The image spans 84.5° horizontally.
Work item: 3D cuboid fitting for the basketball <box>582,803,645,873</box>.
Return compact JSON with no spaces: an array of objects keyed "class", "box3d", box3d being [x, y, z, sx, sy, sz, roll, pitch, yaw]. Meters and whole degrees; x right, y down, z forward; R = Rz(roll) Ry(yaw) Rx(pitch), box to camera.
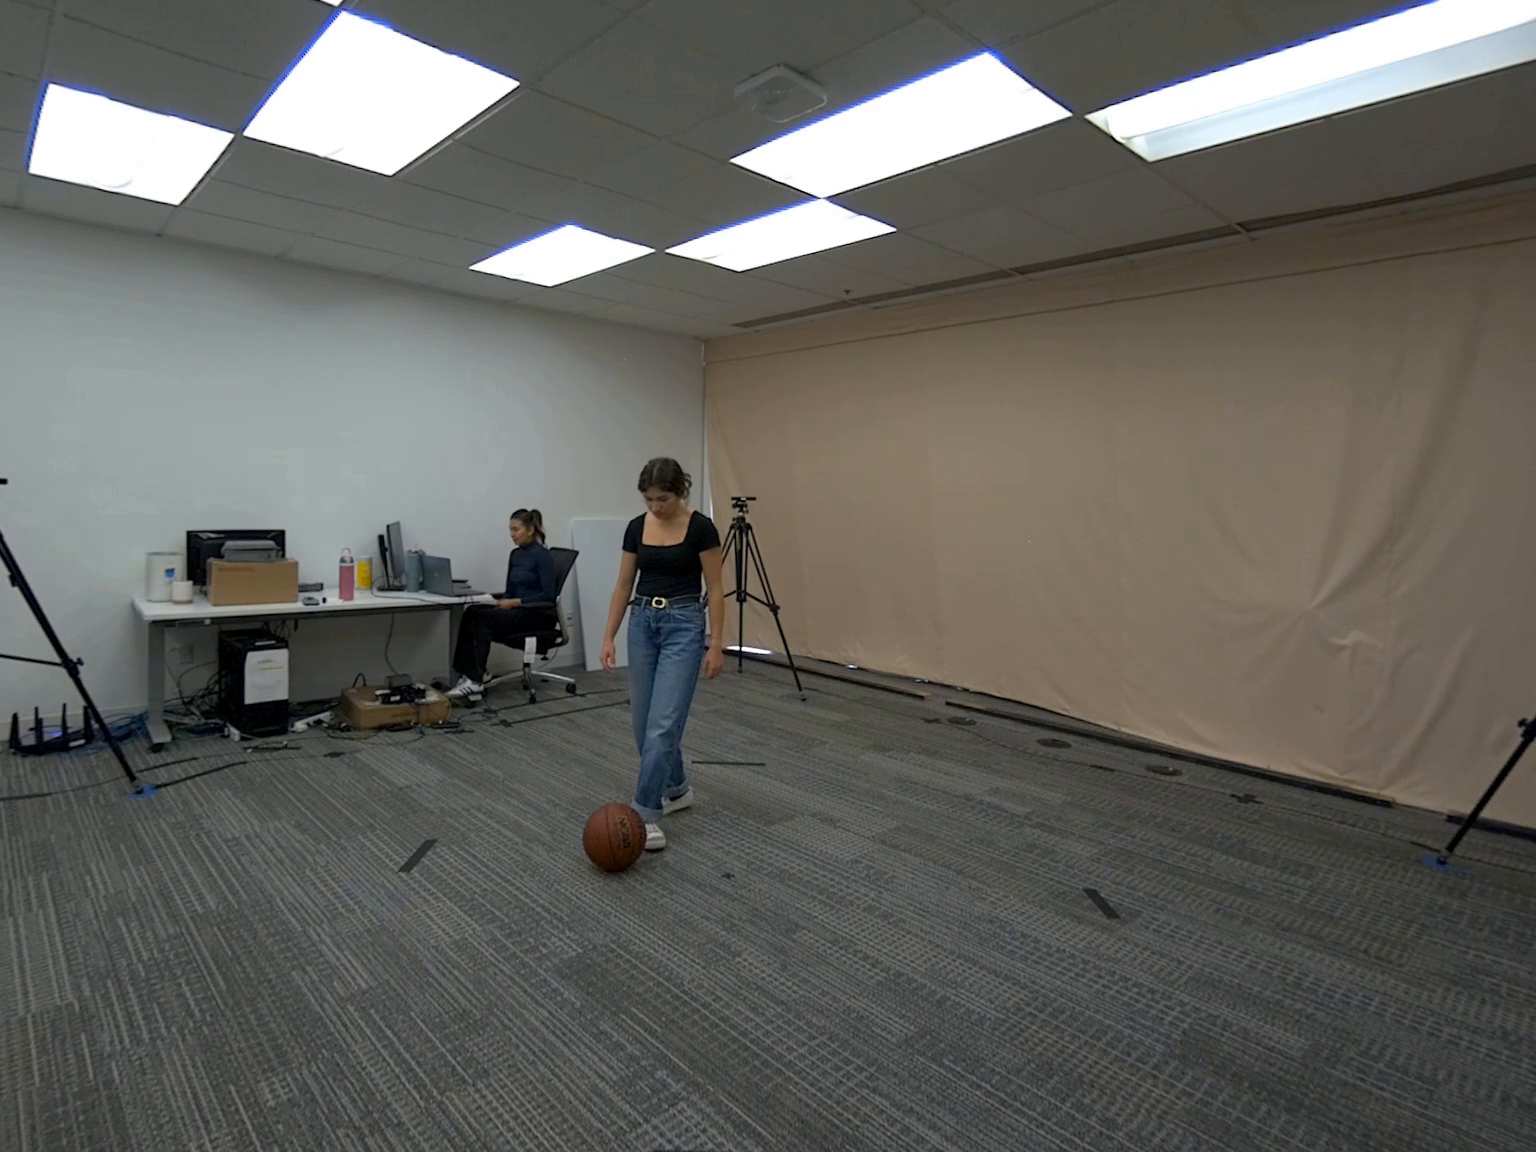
[{"class":"basketball","box3d":[-0.585,0.973,3.143,0.236,0.235,0.237,1,4,-1]}]
